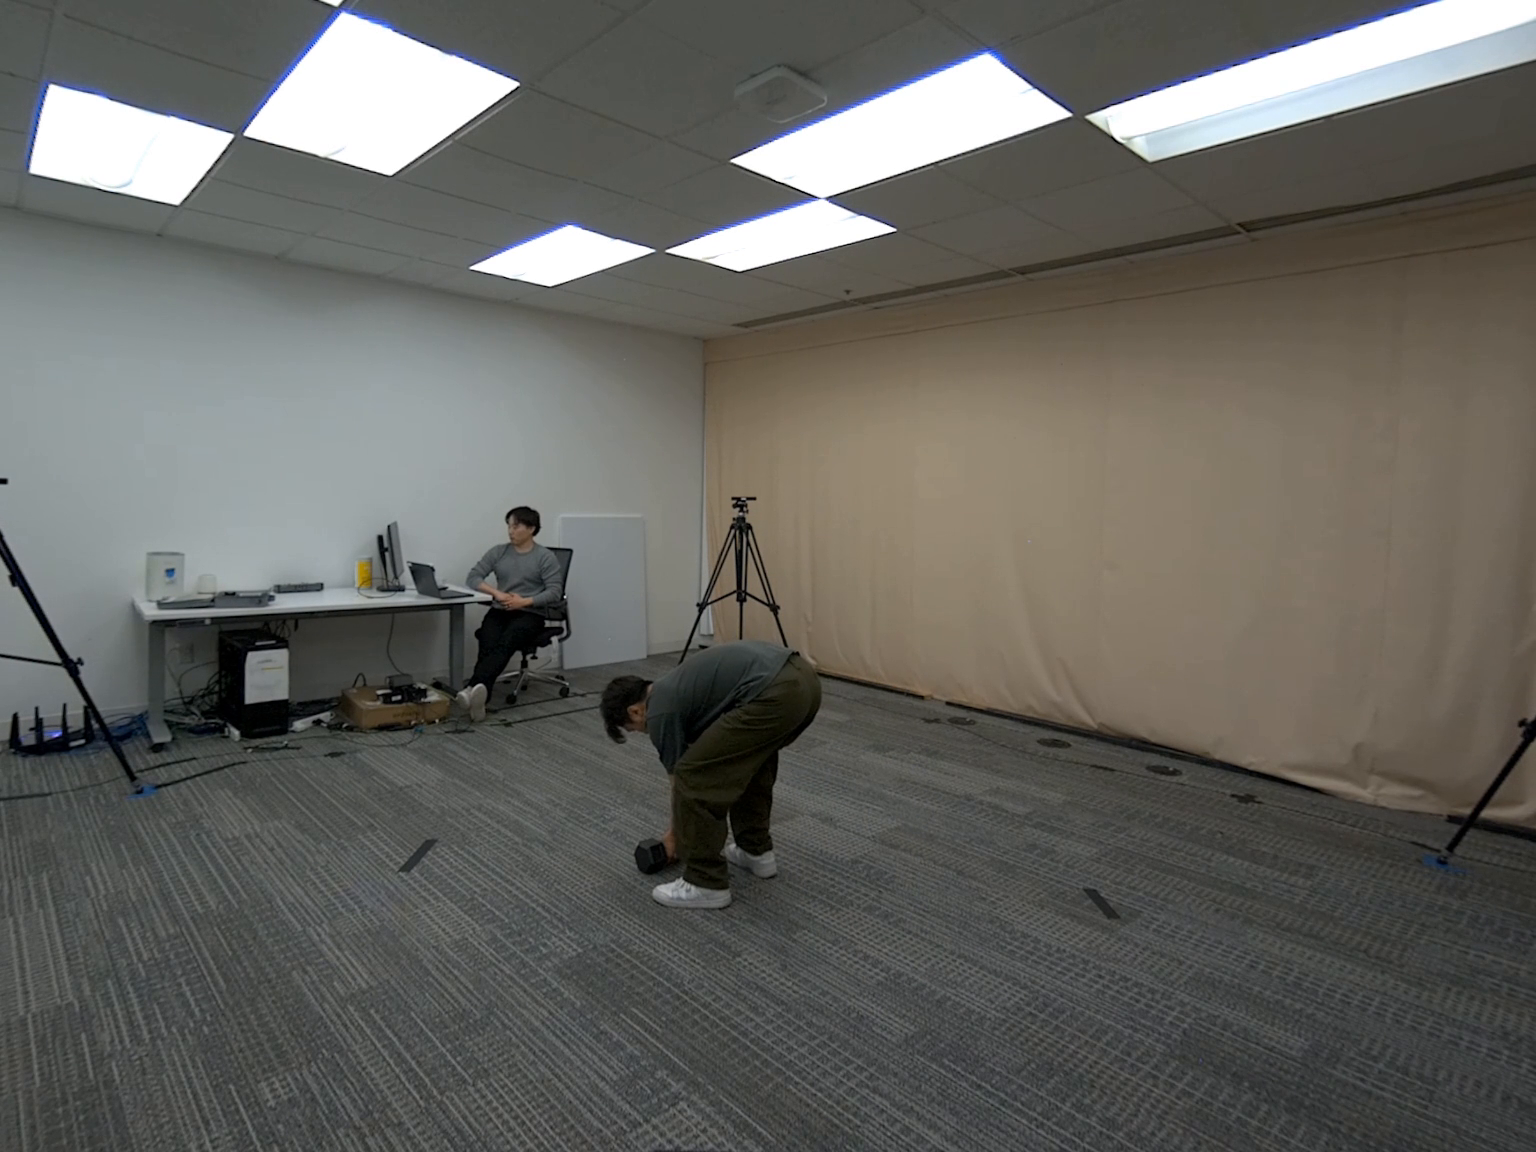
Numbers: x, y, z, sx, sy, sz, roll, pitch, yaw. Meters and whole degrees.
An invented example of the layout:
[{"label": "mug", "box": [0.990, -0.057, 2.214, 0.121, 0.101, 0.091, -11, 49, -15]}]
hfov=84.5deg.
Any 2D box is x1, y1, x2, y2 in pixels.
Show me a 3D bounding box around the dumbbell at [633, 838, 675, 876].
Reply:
[{"label": "dumbbell", "box": [-0.370, 1.037, 3.204, 0.287, 0.125, 0.109, -4, -25, -45]}]
